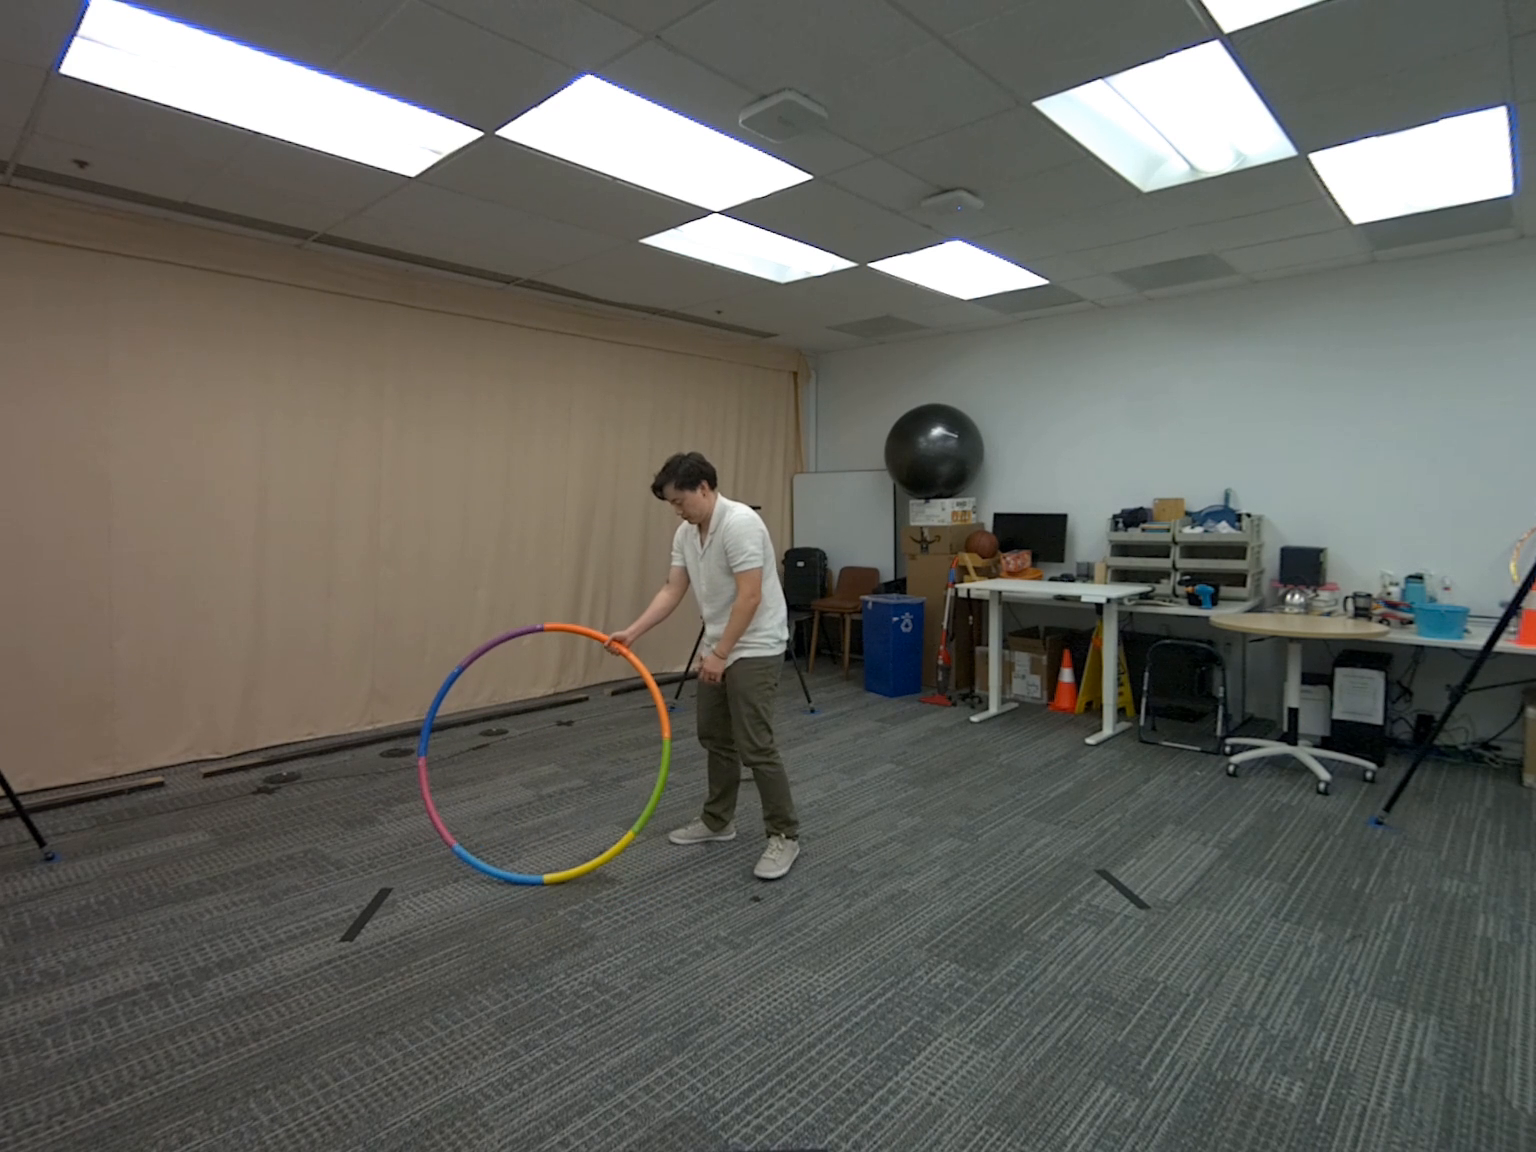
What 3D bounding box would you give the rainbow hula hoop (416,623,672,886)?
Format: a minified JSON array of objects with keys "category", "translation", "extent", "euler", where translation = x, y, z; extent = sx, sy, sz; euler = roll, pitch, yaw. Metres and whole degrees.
[{"category":"rainbow hula hoop","translation":[-0.850,0.671,3.254],"extent":[0.980,0.989,0.035],"euler":[0,-17,2]}]
